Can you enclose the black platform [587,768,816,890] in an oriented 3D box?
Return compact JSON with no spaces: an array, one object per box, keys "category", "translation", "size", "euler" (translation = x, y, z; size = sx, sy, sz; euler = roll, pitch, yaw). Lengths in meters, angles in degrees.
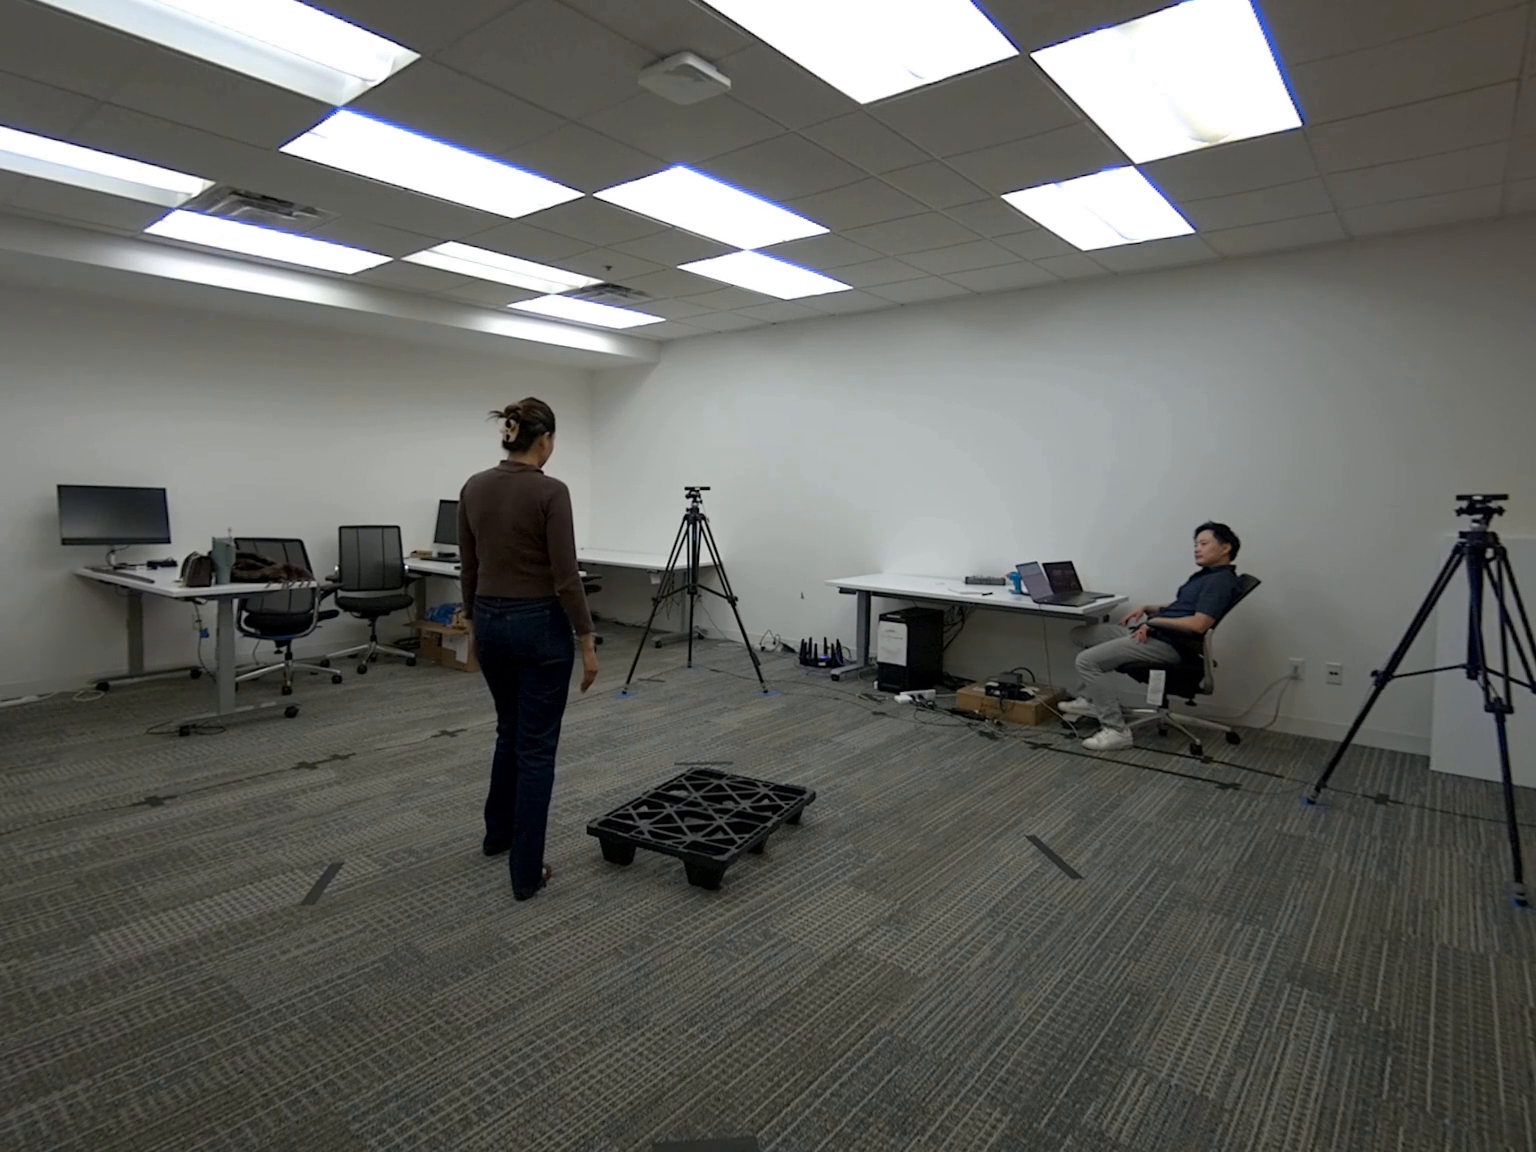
[{"category":"black platform","translation":[-0.244,0.970,3.361],"size":[0.622,0.143,0.787],"euler":[4,7,28]}]
